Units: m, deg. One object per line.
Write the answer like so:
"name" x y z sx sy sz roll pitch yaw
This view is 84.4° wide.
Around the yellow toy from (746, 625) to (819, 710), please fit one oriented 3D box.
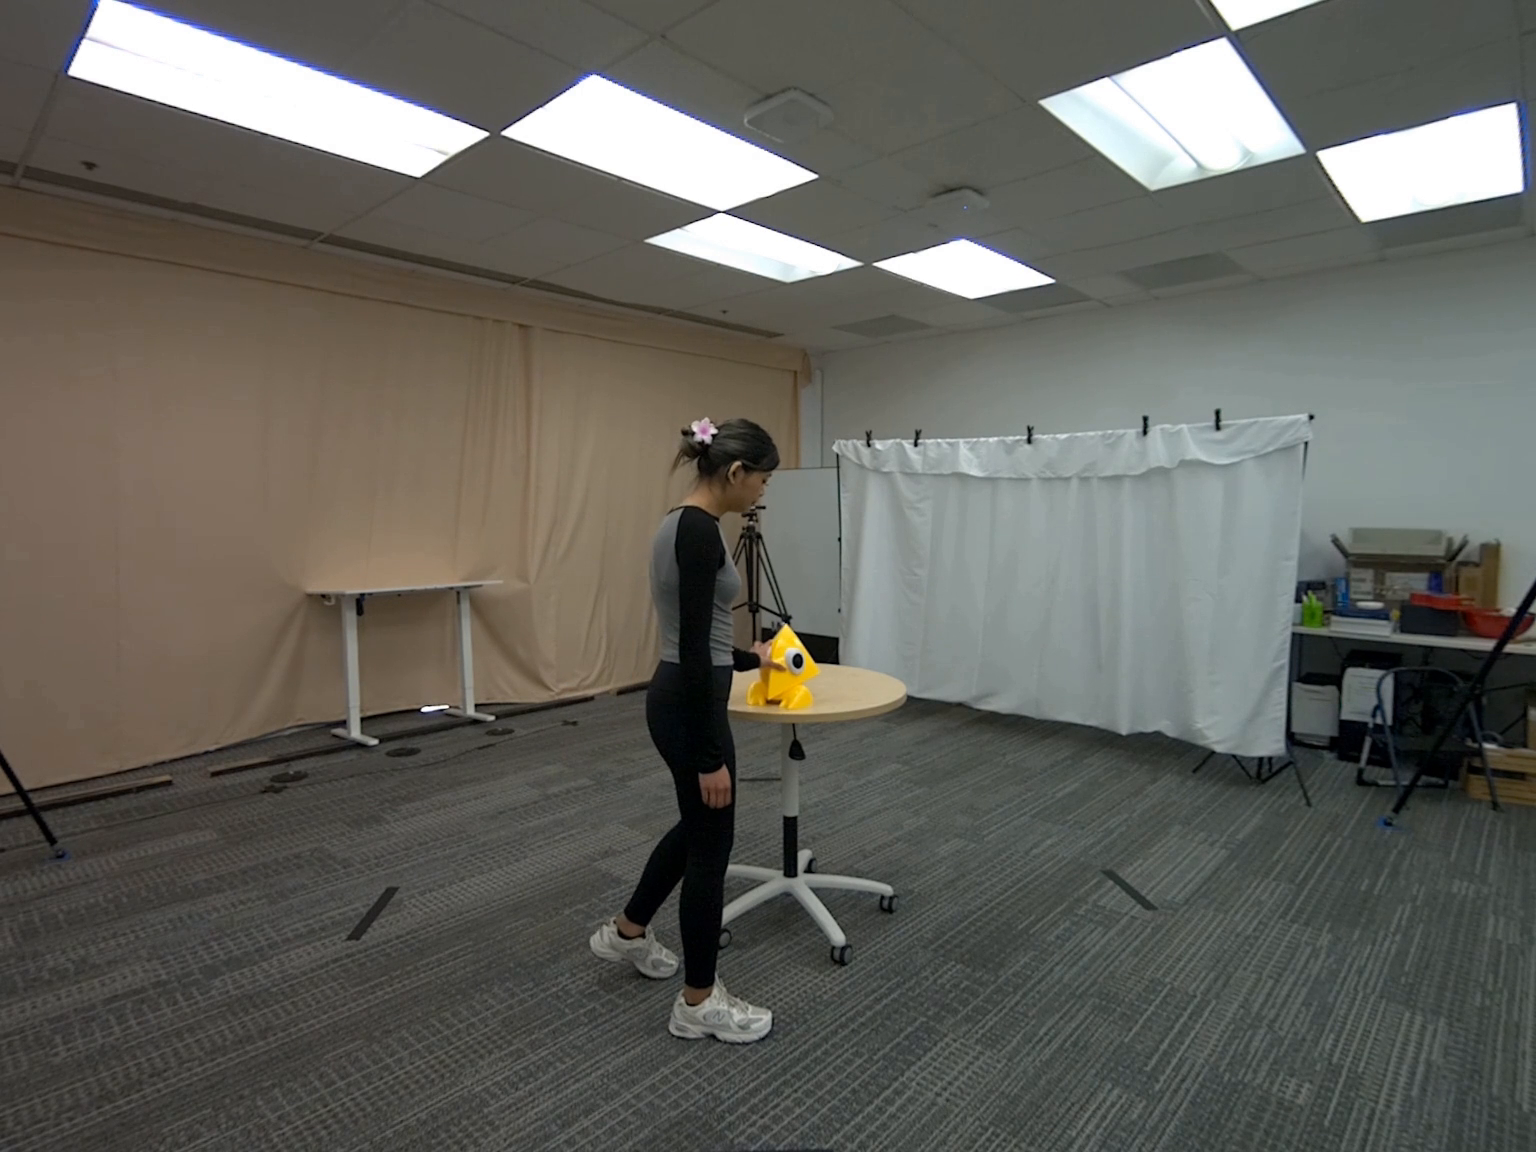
"yellow toy" 0.042 0.272 2.593 0.210 0.230 0.189 1 4 24
